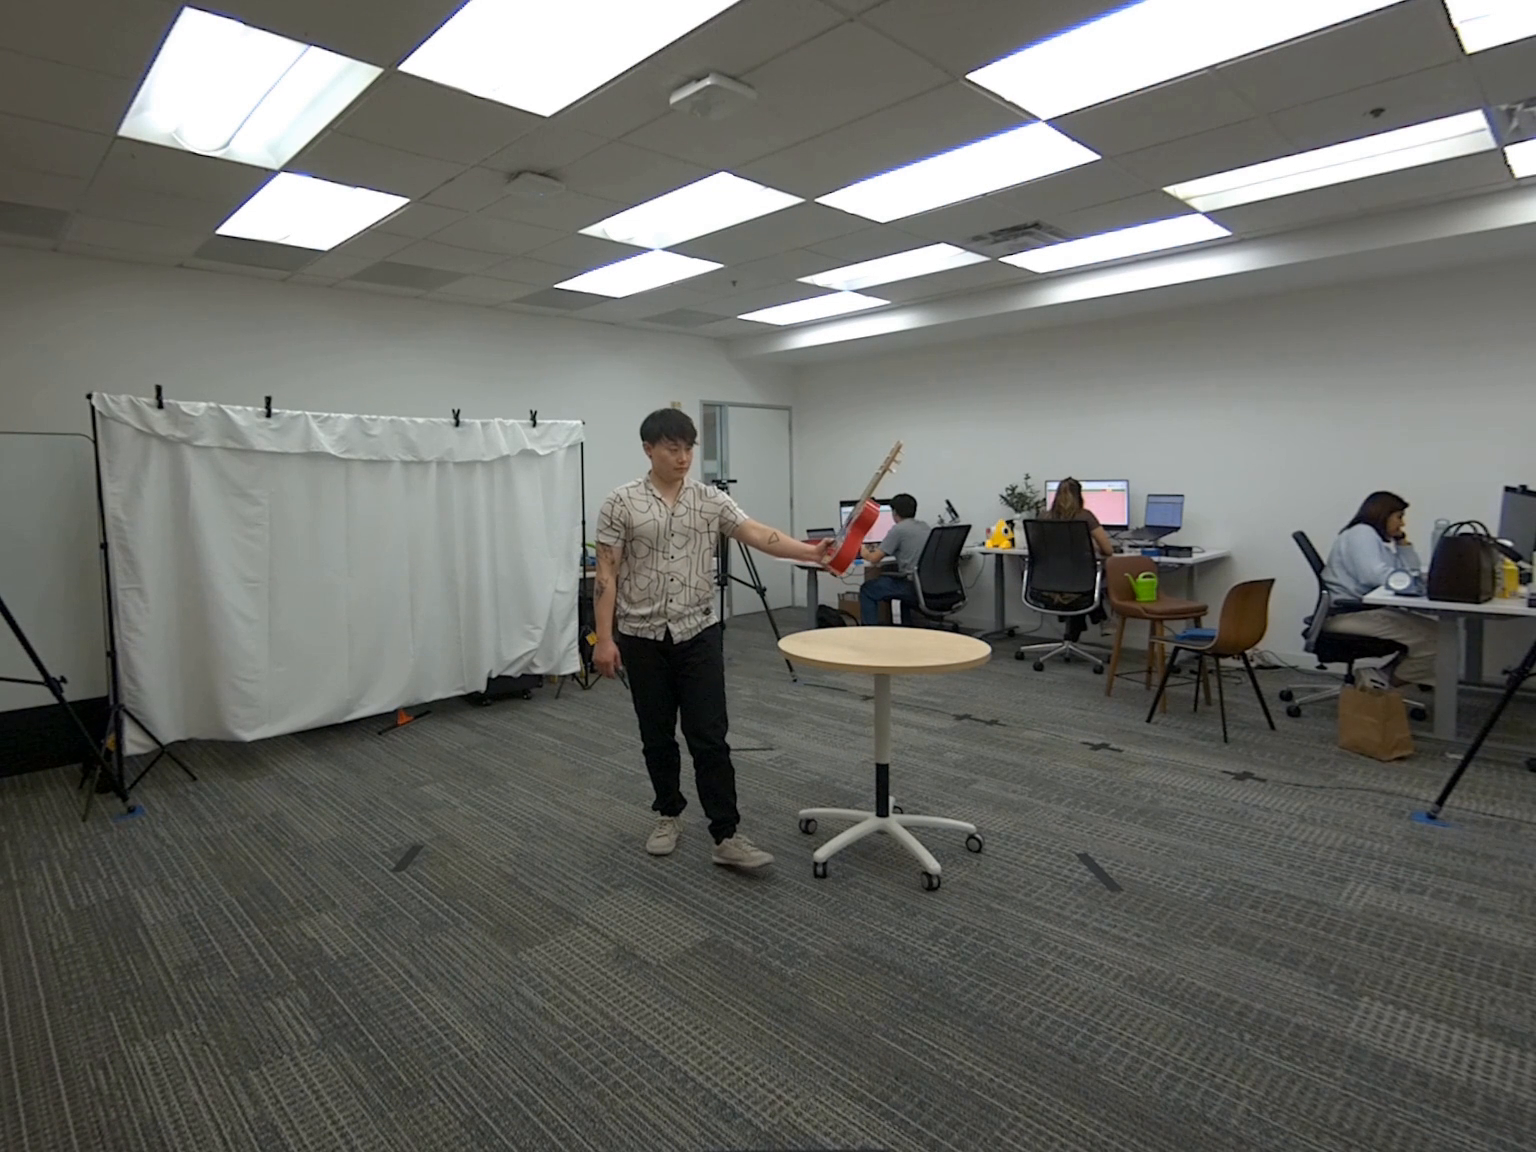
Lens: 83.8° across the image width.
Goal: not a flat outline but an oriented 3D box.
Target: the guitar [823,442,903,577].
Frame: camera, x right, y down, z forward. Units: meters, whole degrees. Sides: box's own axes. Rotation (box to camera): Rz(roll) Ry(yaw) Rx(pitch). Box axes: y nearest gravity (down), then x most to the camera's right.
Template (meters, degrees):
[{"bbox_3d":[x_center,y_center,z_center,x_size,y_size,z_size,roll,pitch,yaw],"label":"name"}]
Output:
[{"bbox_3d":[0.342,-0.226,2.846,0.070,0.497,0.195,32,8,-7],"label":"guitar"}]
